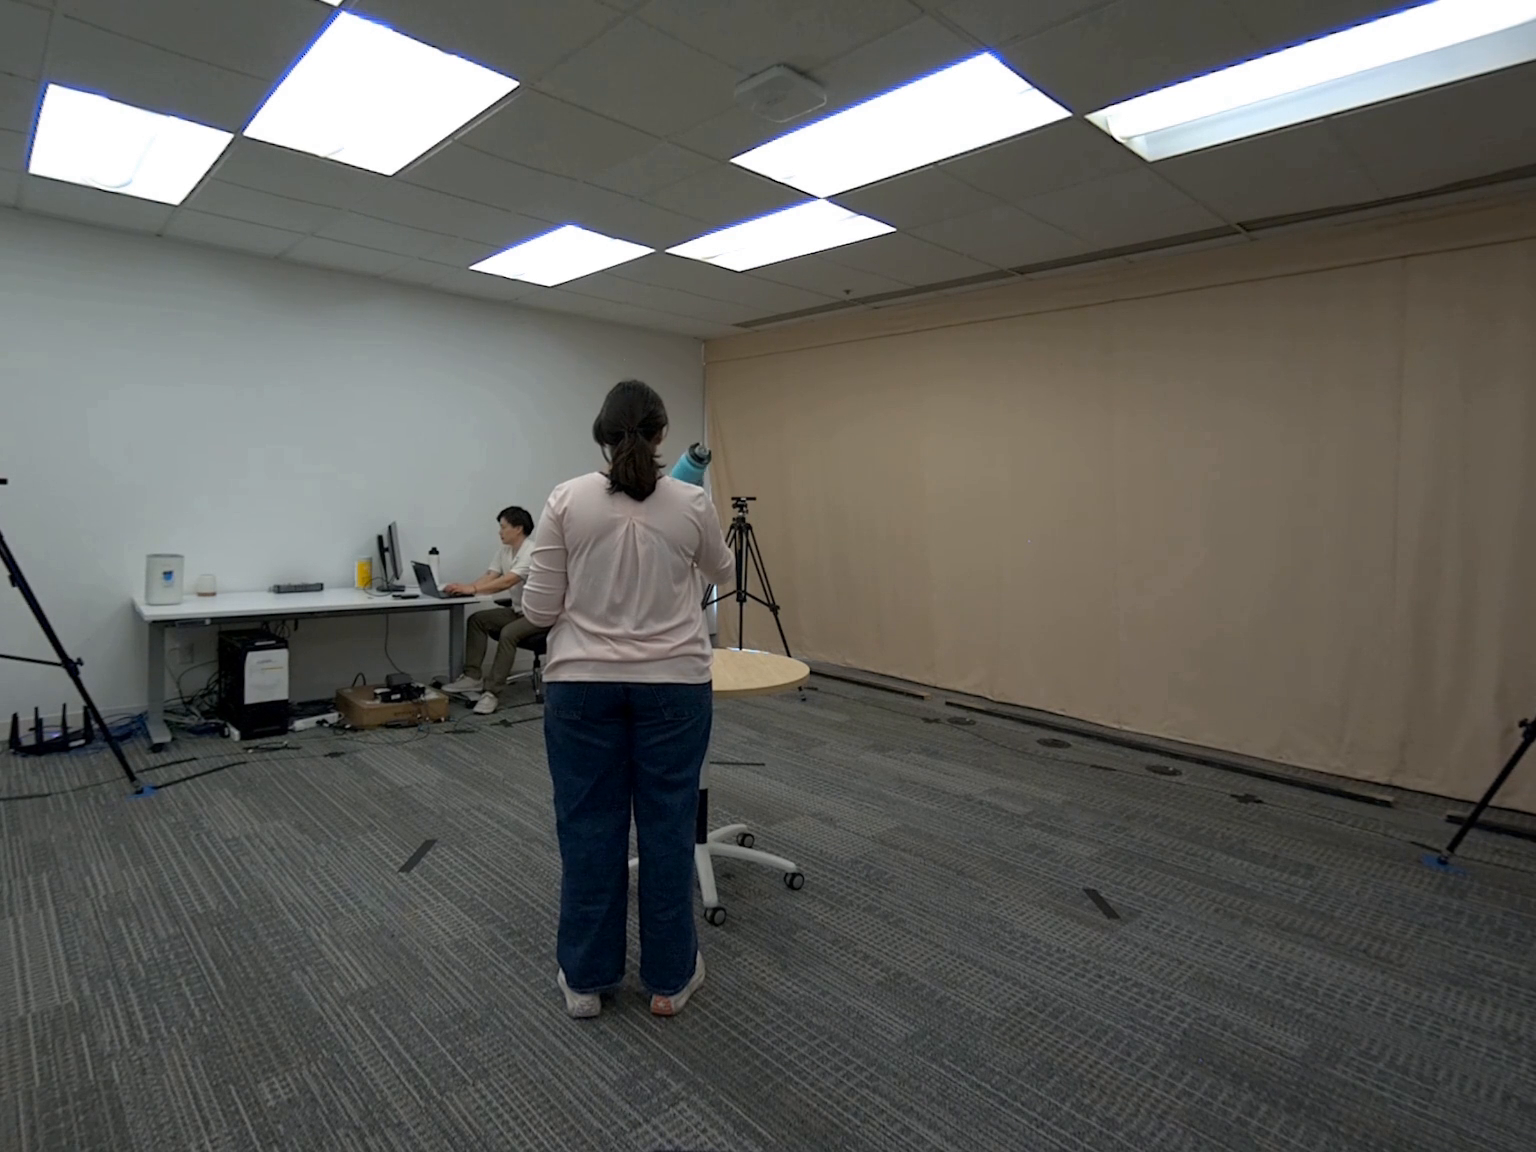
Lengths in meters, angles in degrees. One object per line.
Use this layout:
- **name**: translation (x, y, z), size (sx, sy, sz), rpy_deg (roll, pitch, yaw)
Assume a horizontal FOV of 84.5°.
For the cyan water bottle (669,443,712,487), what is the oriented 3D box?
- **cyan water bottle**: translation (-0.281, -0.302, 2.657), size (0.090, 0.282, 0.094), rpy_deg (24, 36, -20)
